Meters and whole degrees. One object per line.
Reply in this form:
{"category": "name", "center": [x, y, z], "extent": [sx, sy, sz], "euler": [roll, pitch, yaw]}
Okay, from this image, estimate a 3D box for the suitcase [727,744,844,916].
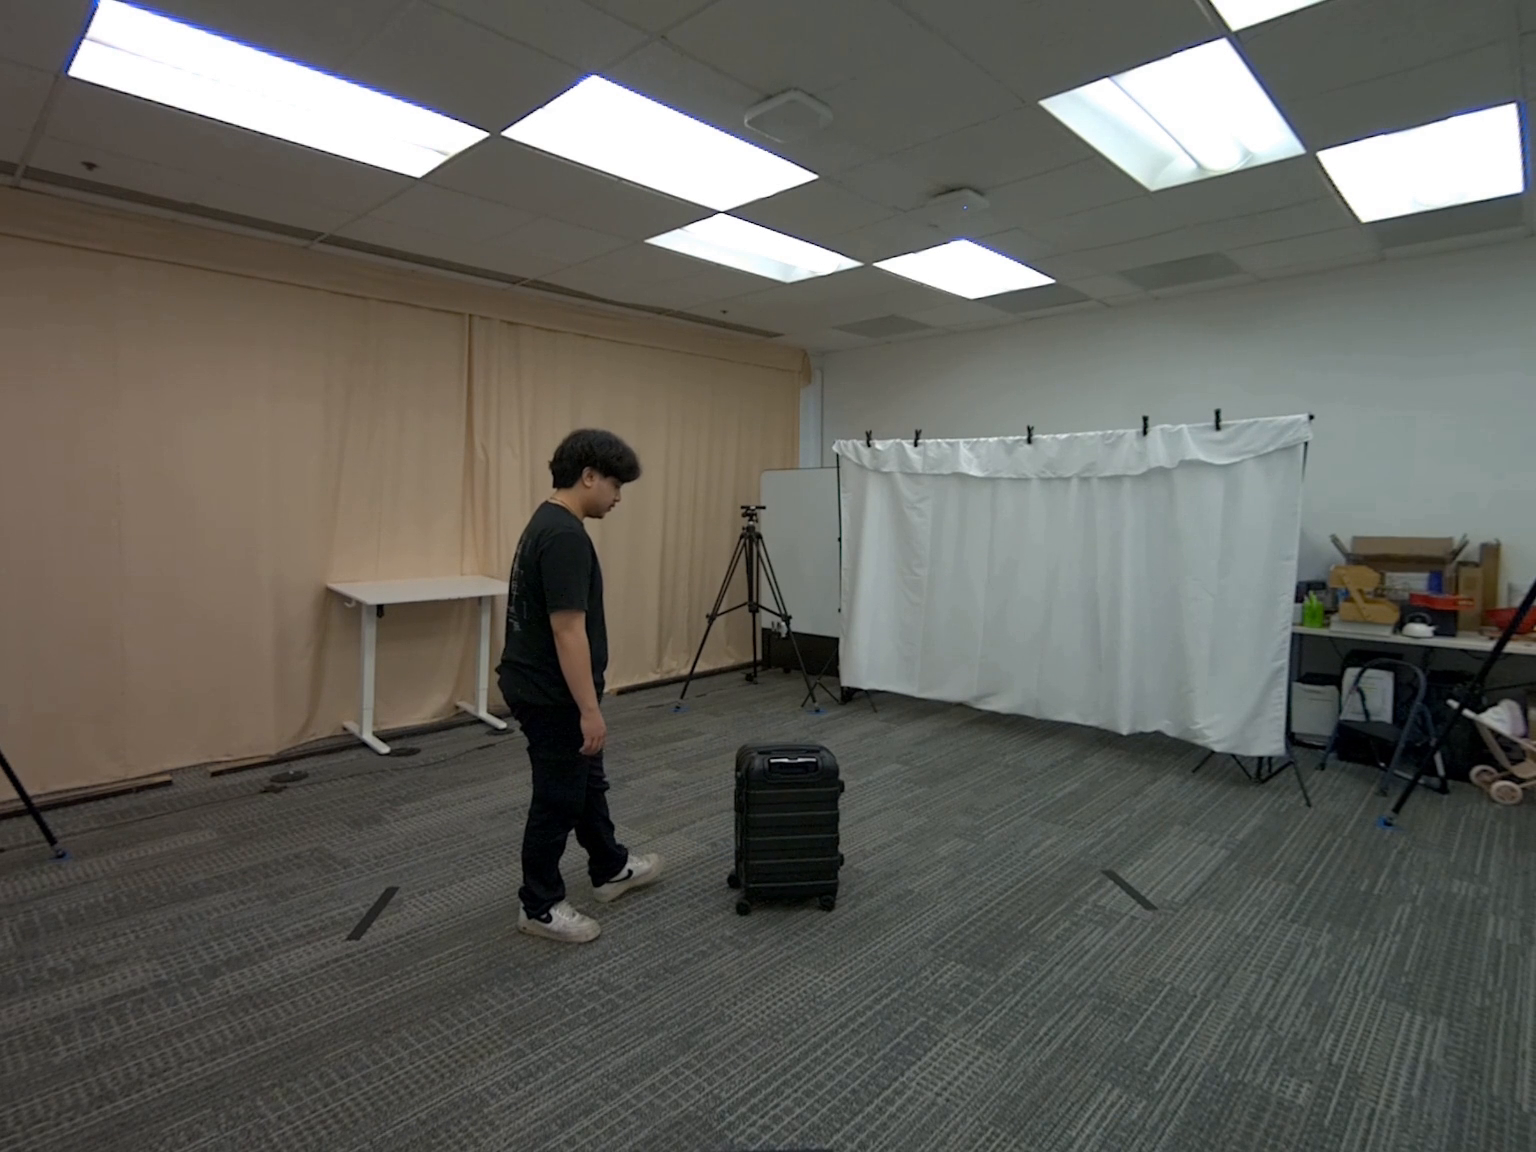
{"category": "suitcase", "center": [0.064, 0.868, 2.976], "extent": [0.372, 0.548, 0.251], "euler": [-1, 4, -8]}
